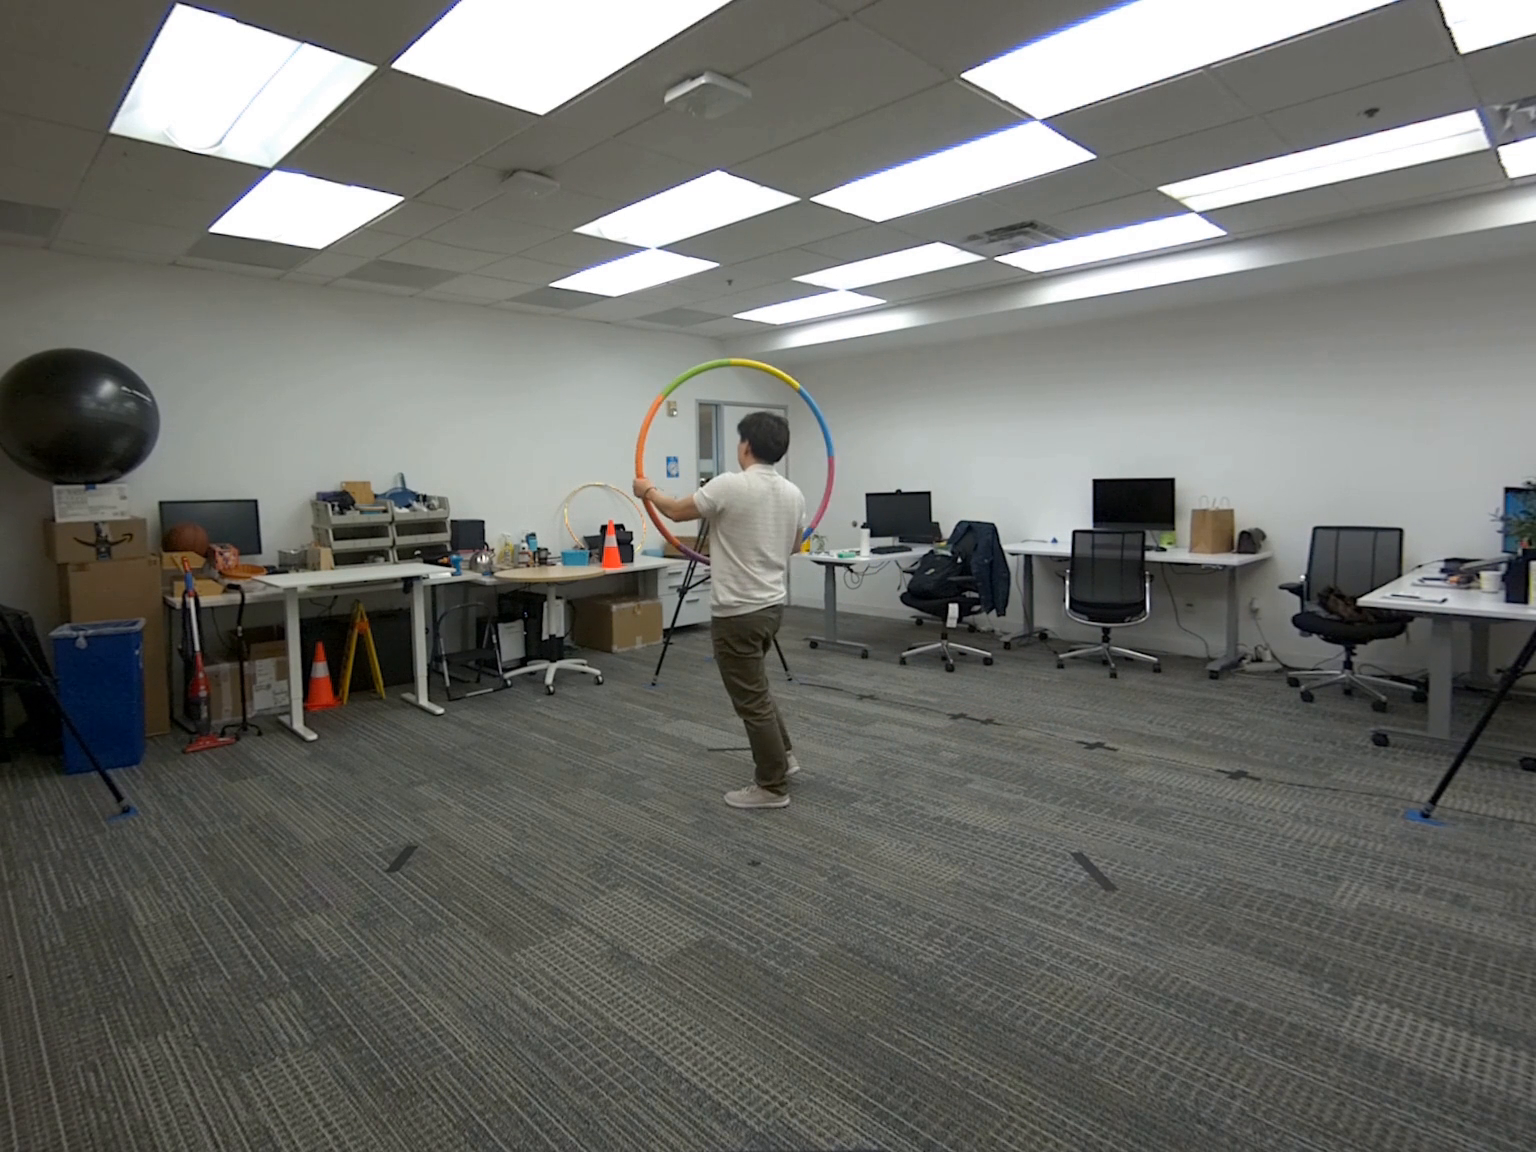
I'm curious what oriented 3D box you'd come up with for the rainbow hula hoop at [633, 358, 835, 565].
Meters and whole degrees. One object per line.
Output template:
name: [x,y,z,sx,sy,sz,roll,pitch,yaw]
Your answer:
rainbow hula hoop: [-0.132,-0.513,3.969,0.960,0.977,0.036,-3,2,-22]
